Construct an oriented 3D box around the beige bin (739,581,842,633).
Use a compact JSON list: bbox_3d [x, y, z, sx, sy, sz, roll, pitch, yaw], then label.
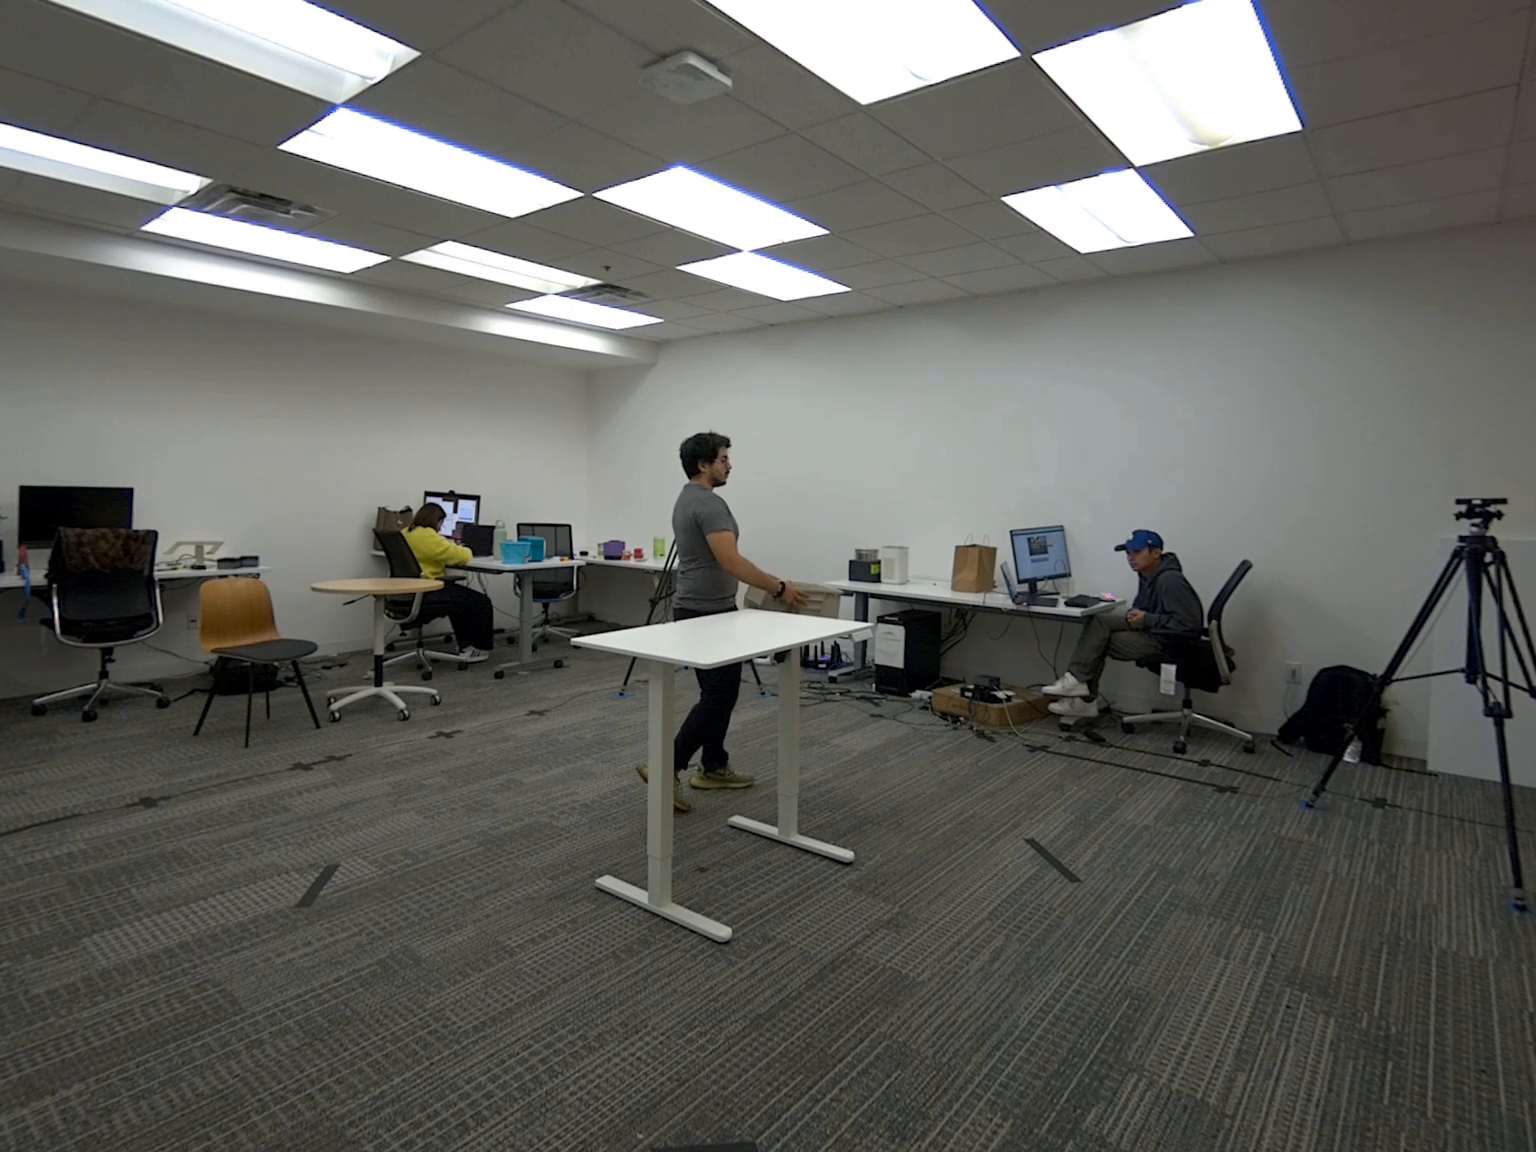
[{"bbox_3d":[0.091,0.126,3.941,0.374,0.189,0.427,6,1,-10],"label":"beige bin"}]
